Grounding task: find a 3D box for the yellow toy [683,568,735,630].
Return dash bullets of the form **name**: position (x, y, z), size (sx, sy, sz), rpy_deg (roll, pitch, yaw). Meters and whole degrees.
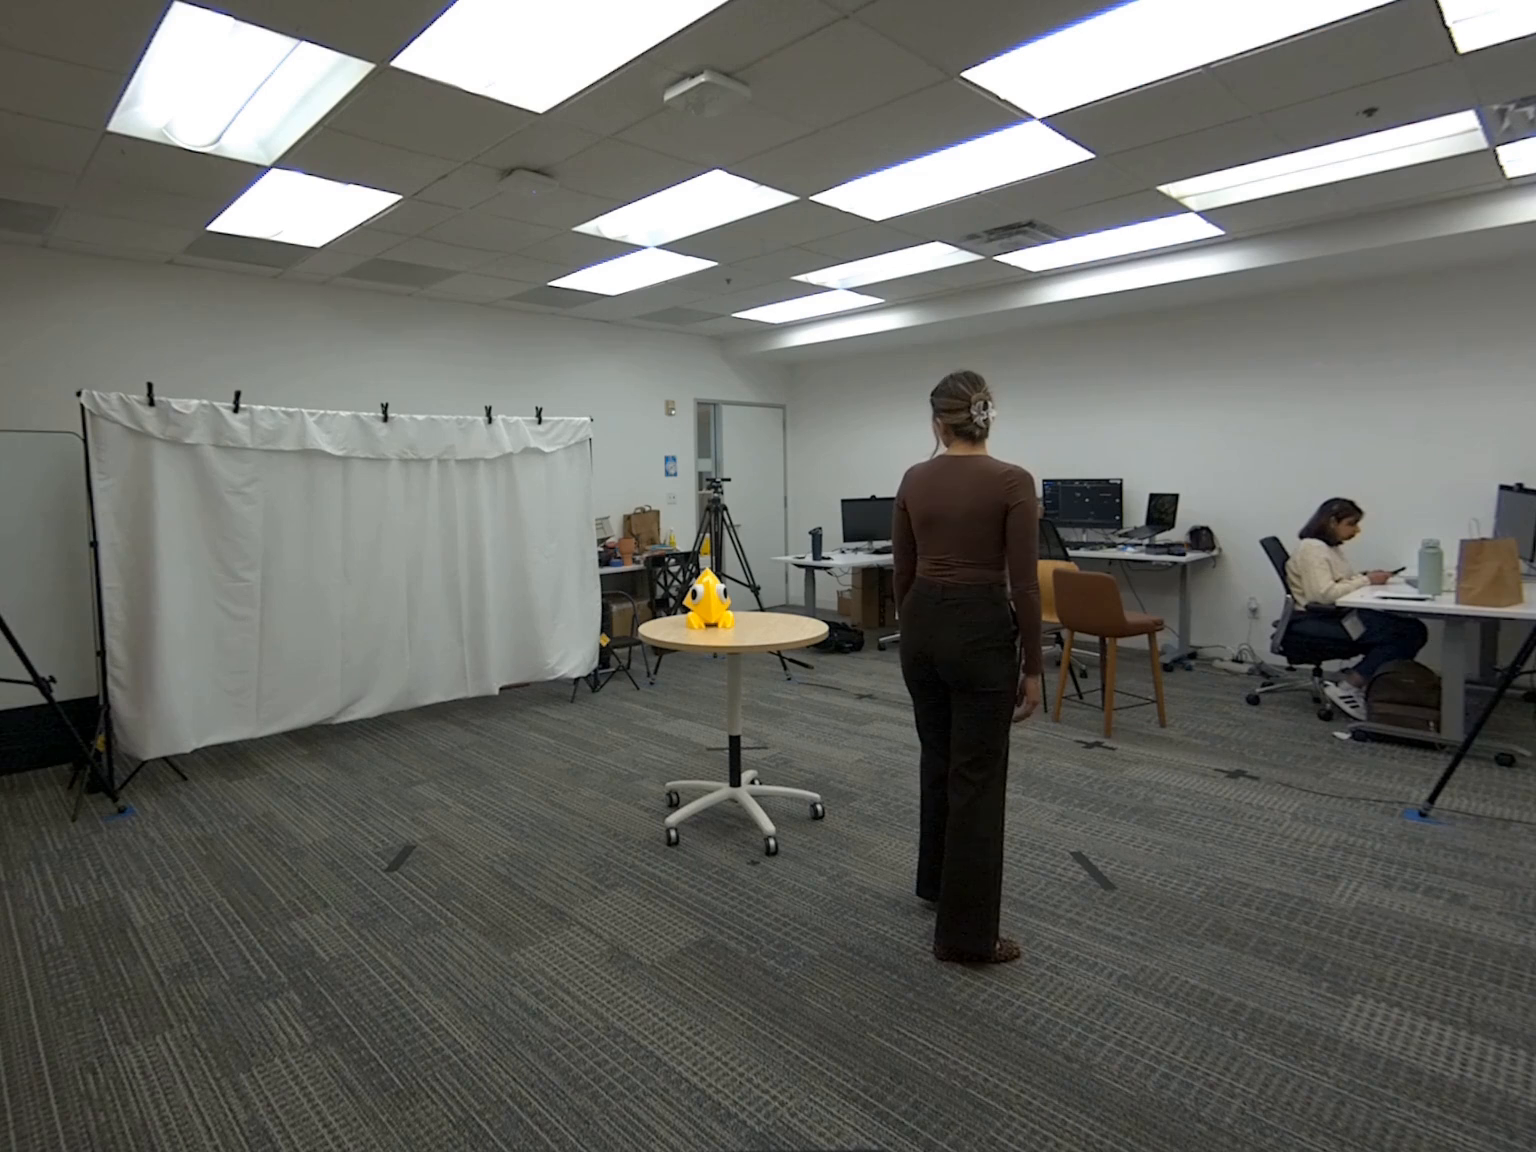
- **yellow toy**: position (-0.238, 0.086, 3.500), size (0.203, 0.230, 0.195), rpy_deg (-2, 4, -8)
